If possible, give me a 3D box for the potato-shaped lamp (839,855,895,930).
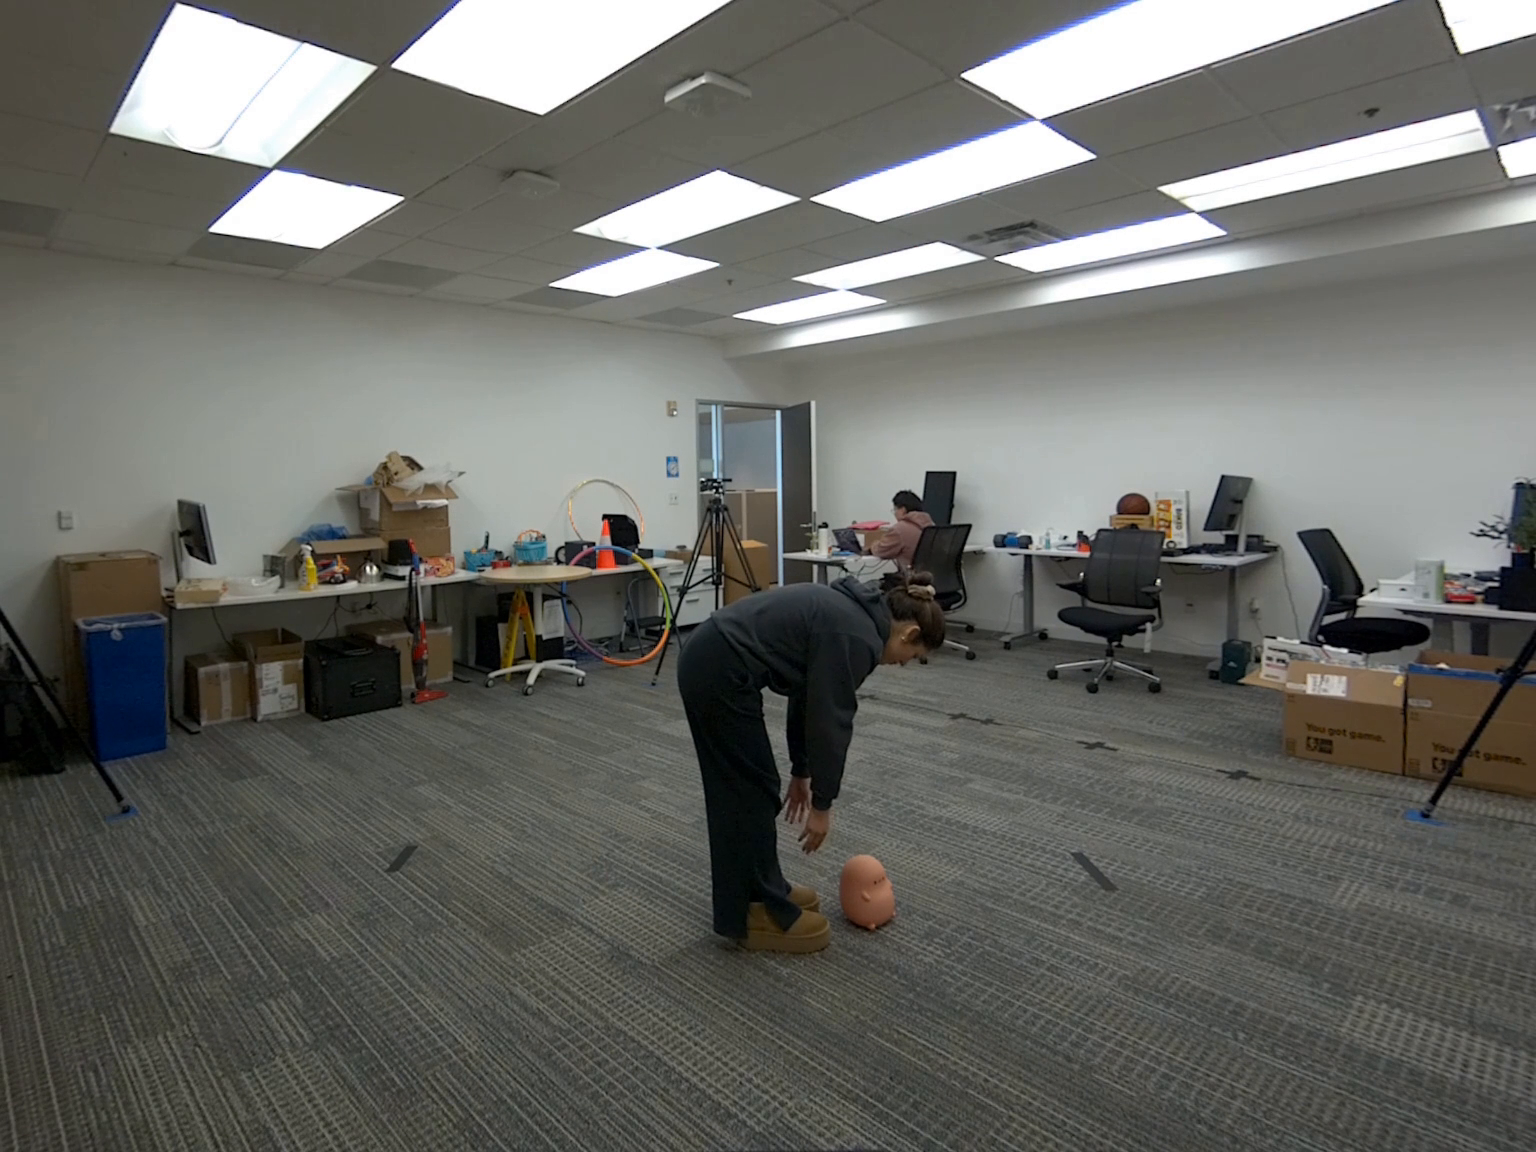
[{"bbox_3d":[0.315,0.989,2.688,0.161,0.197,0.176,-6,4,-35],"label":"potato-shaped lamp"}]
